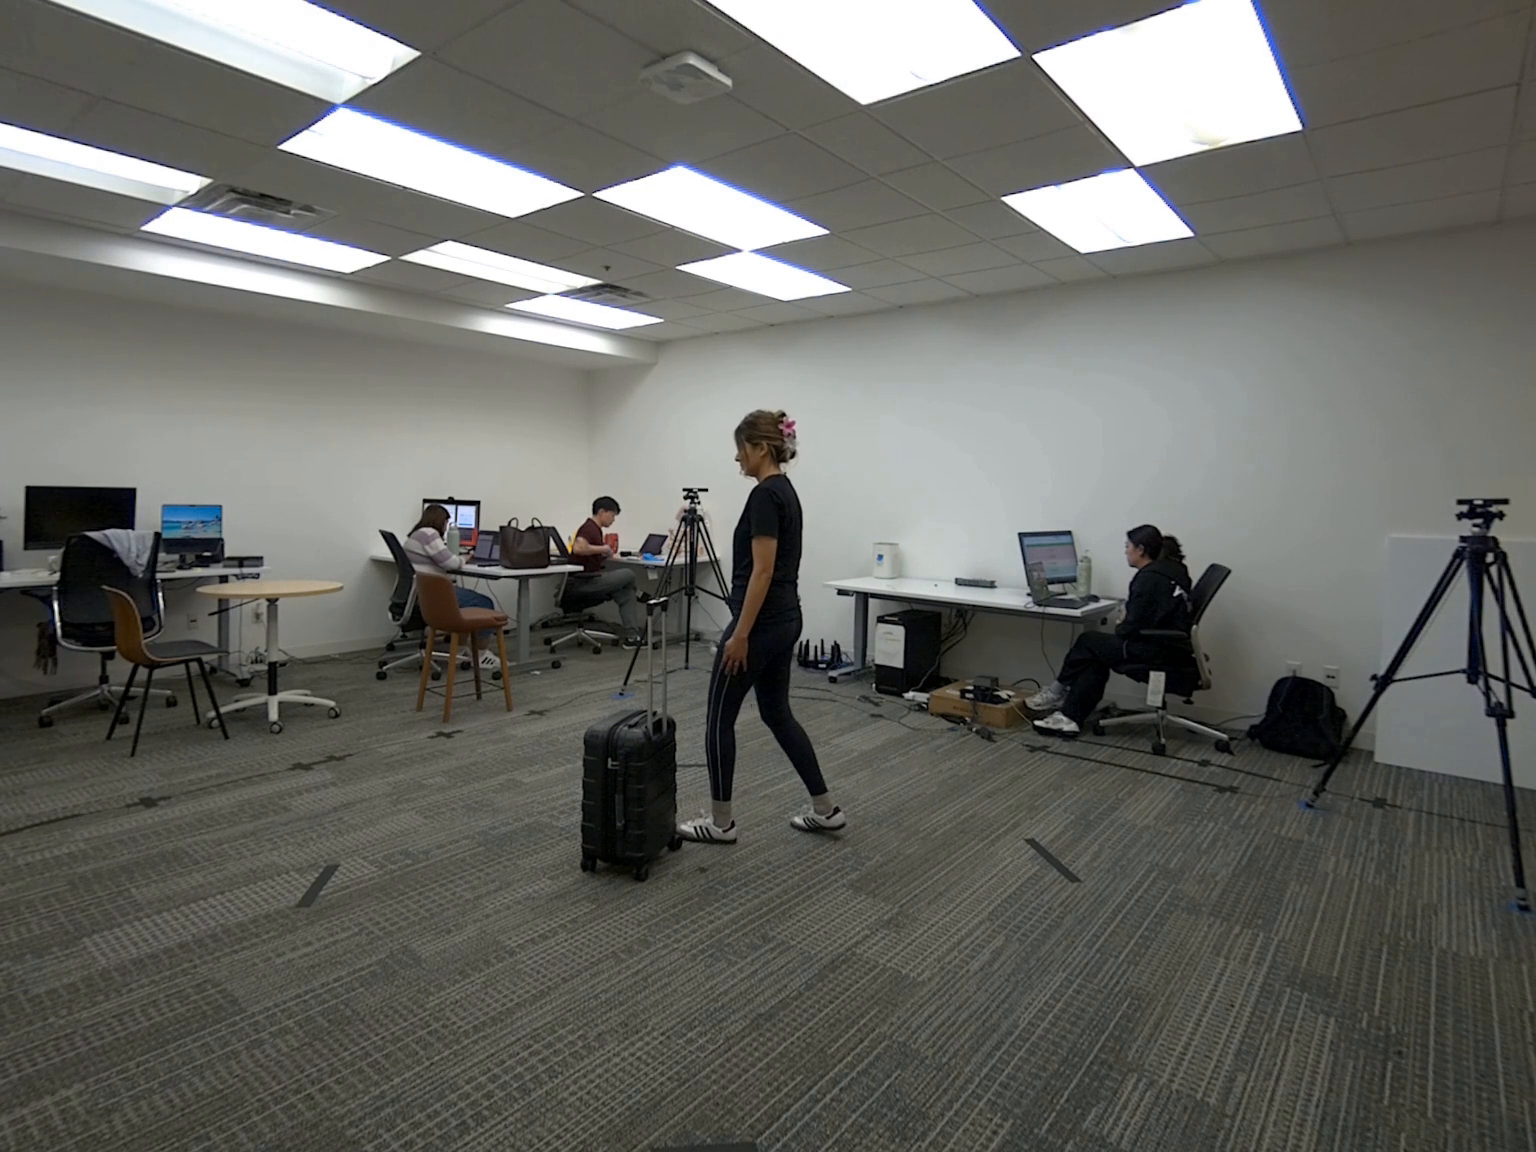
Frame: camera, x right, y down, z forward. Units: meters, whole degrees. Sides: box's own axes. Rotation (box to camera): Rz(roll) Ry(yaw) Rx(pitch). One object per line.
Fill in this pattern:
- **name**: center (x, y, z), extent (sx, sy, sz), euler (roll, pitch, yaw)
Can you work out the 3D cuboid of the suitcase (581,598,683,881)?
- **suitcase**: center (-0.524, 0.587, 3.142), extent (0.262, 0.975, 0.378), euler (0, 3, 17)
